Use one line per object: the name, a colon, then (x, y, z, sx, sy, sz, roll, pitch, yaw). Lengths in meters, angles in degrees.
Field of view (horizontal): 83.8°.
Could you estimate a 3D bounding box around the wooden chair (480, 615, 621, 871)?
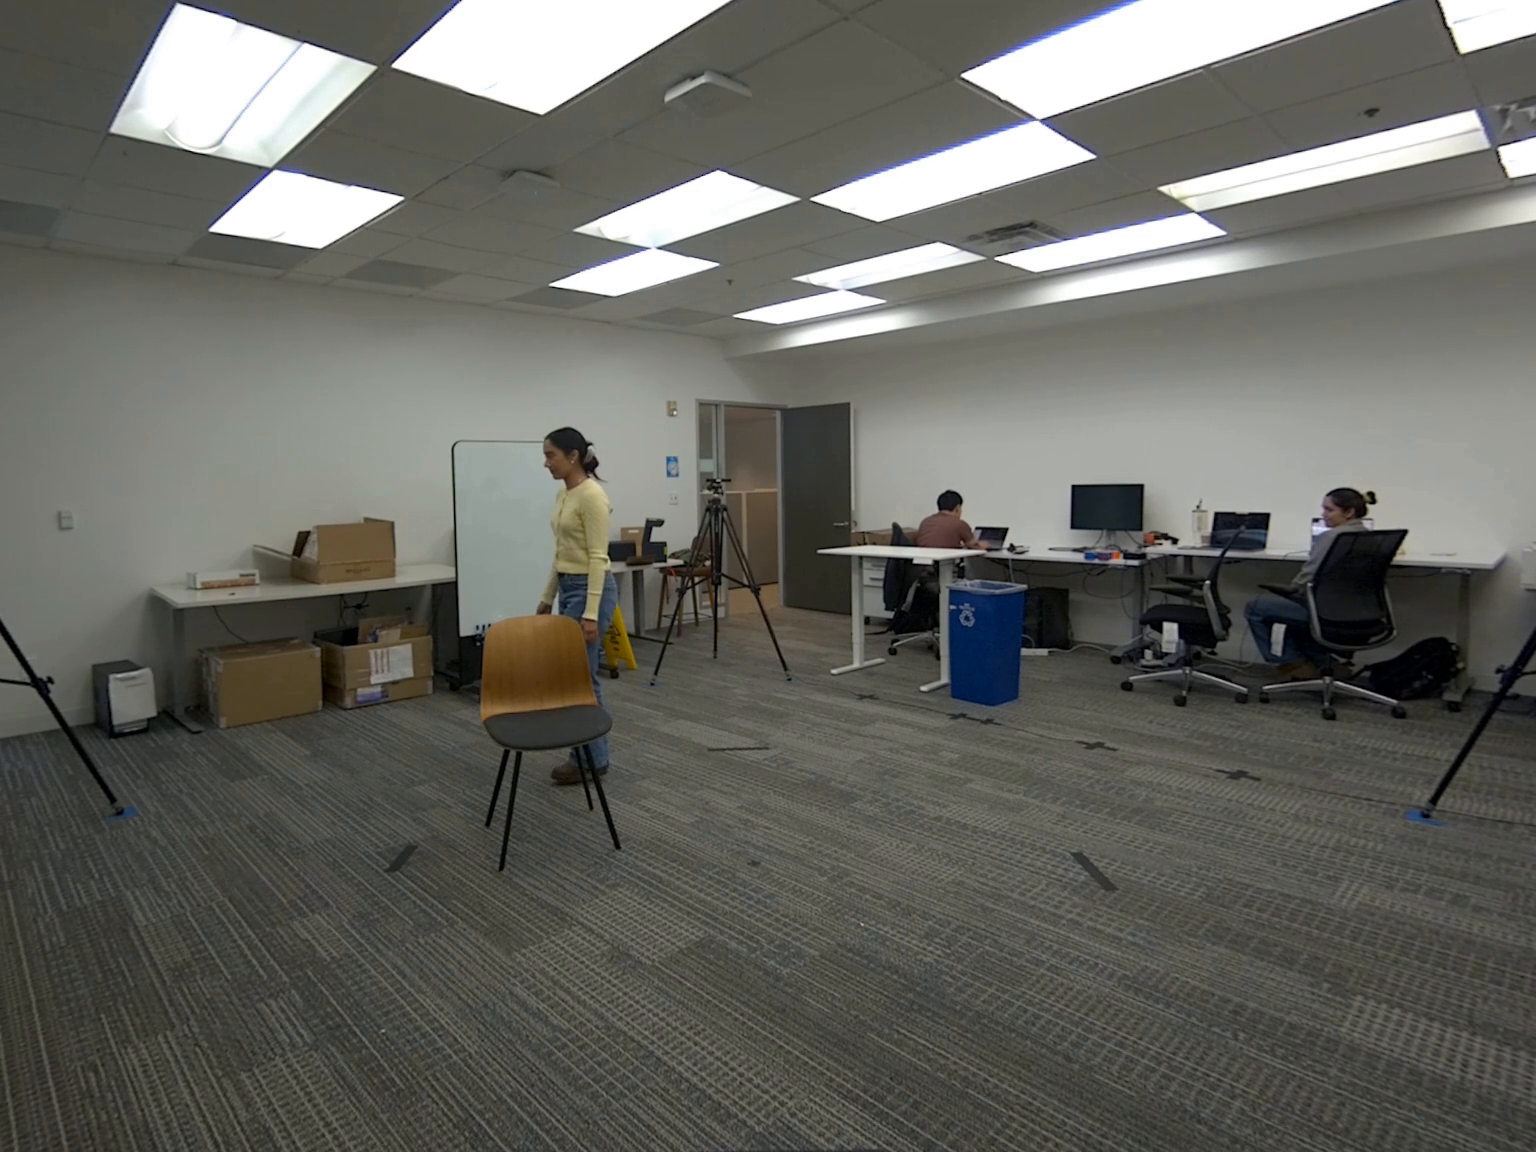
wooden chair: (-0.854, 0.606, 3.328, 0.469, 0.878, 0.533, -2, 0, -23)
